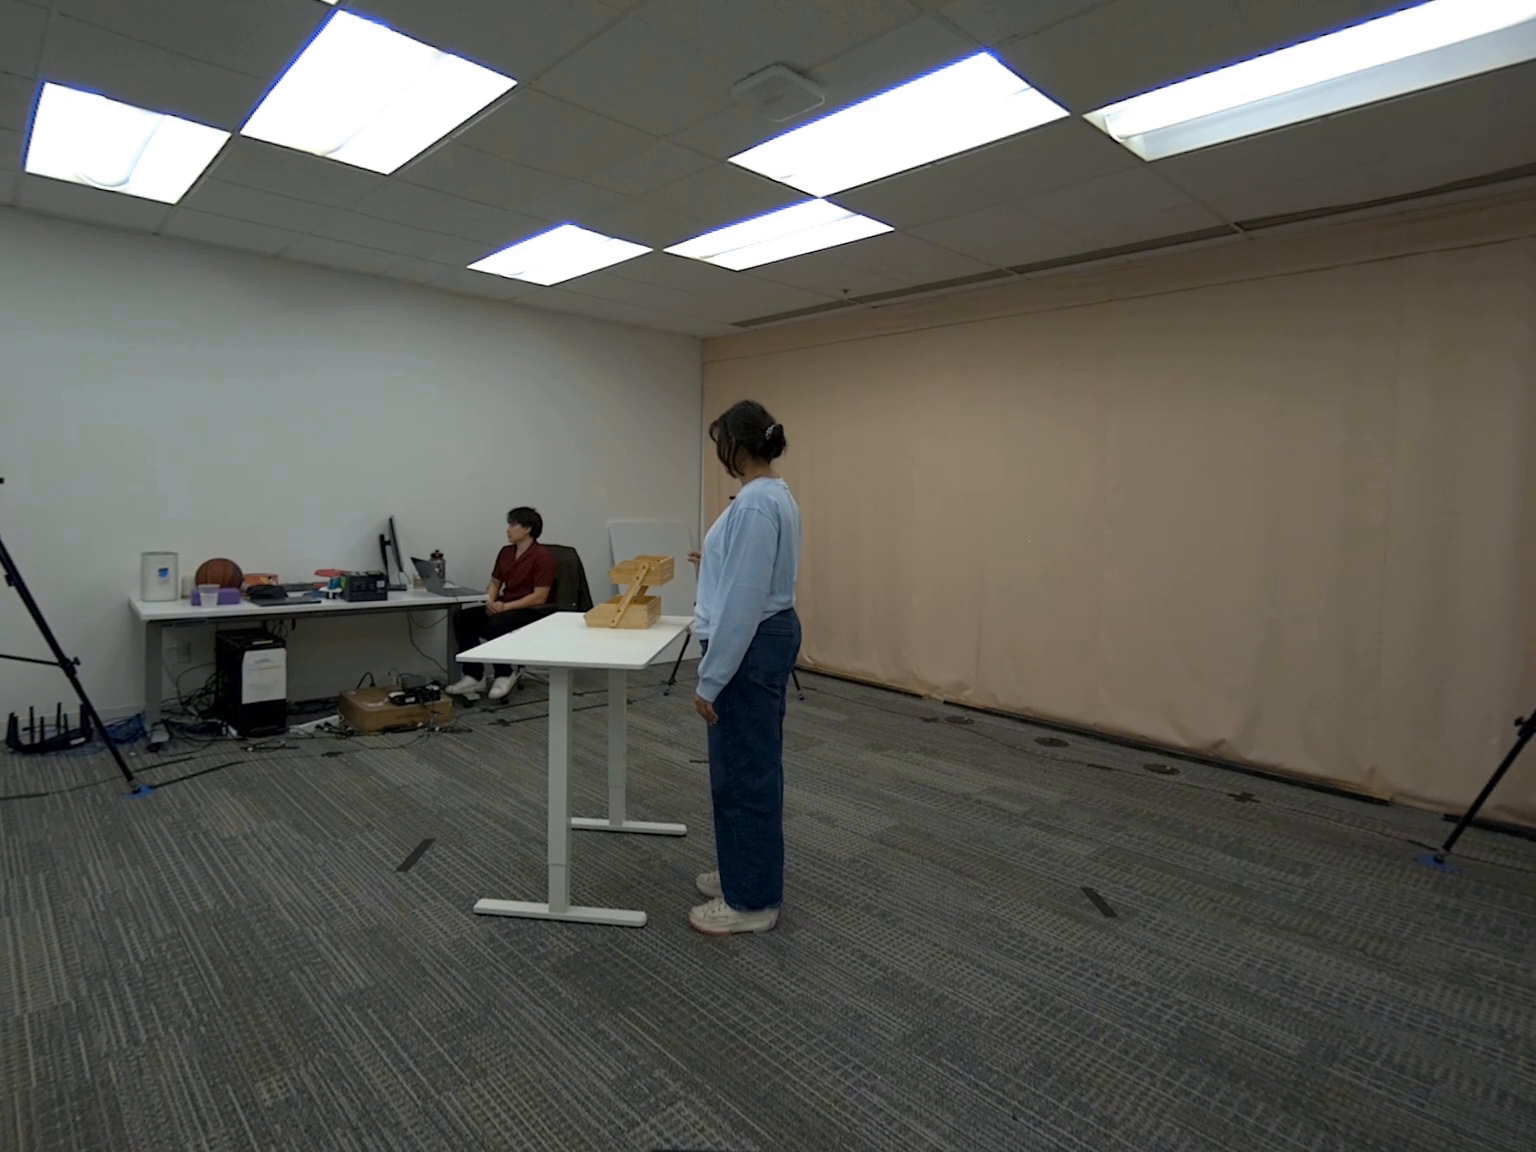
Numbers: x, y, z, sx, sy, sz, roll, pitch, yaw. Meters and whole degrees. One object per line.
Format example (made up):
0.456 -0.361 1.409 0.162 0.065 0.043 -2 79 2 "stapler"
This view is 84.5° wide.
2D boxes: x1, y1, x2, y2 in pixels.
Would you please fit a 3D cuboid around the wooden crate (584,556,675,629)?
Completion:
-0.564 0.054 3.357 0.303 0.272 0.324 3 5 4 "wooden crate"
